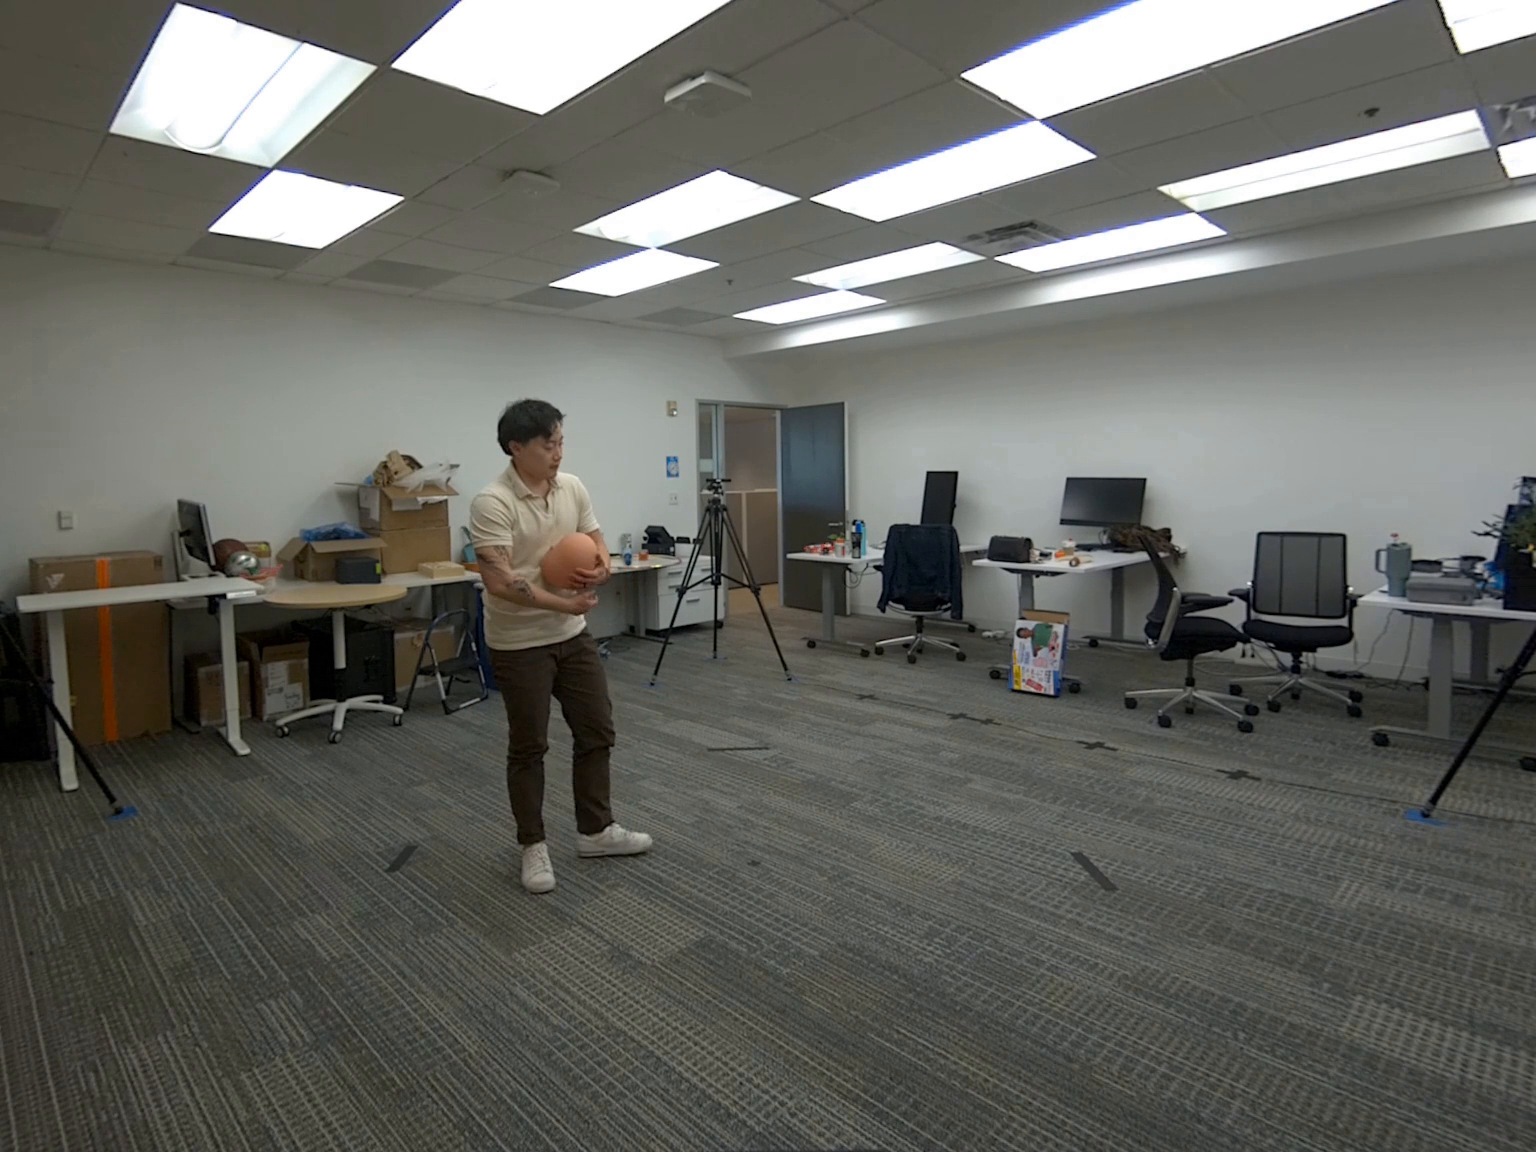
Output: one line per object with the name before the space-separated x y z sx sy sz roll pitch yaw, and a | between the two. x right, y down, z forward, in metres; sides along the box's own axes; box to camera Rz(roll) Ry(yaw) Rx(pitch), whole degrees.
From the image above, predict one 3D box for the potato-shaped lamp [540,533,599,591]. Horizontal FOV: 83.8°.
potato-shaped lamp | -0.681 -0.056 2.887 0.161 0.196 0.177 -10 49 -48
